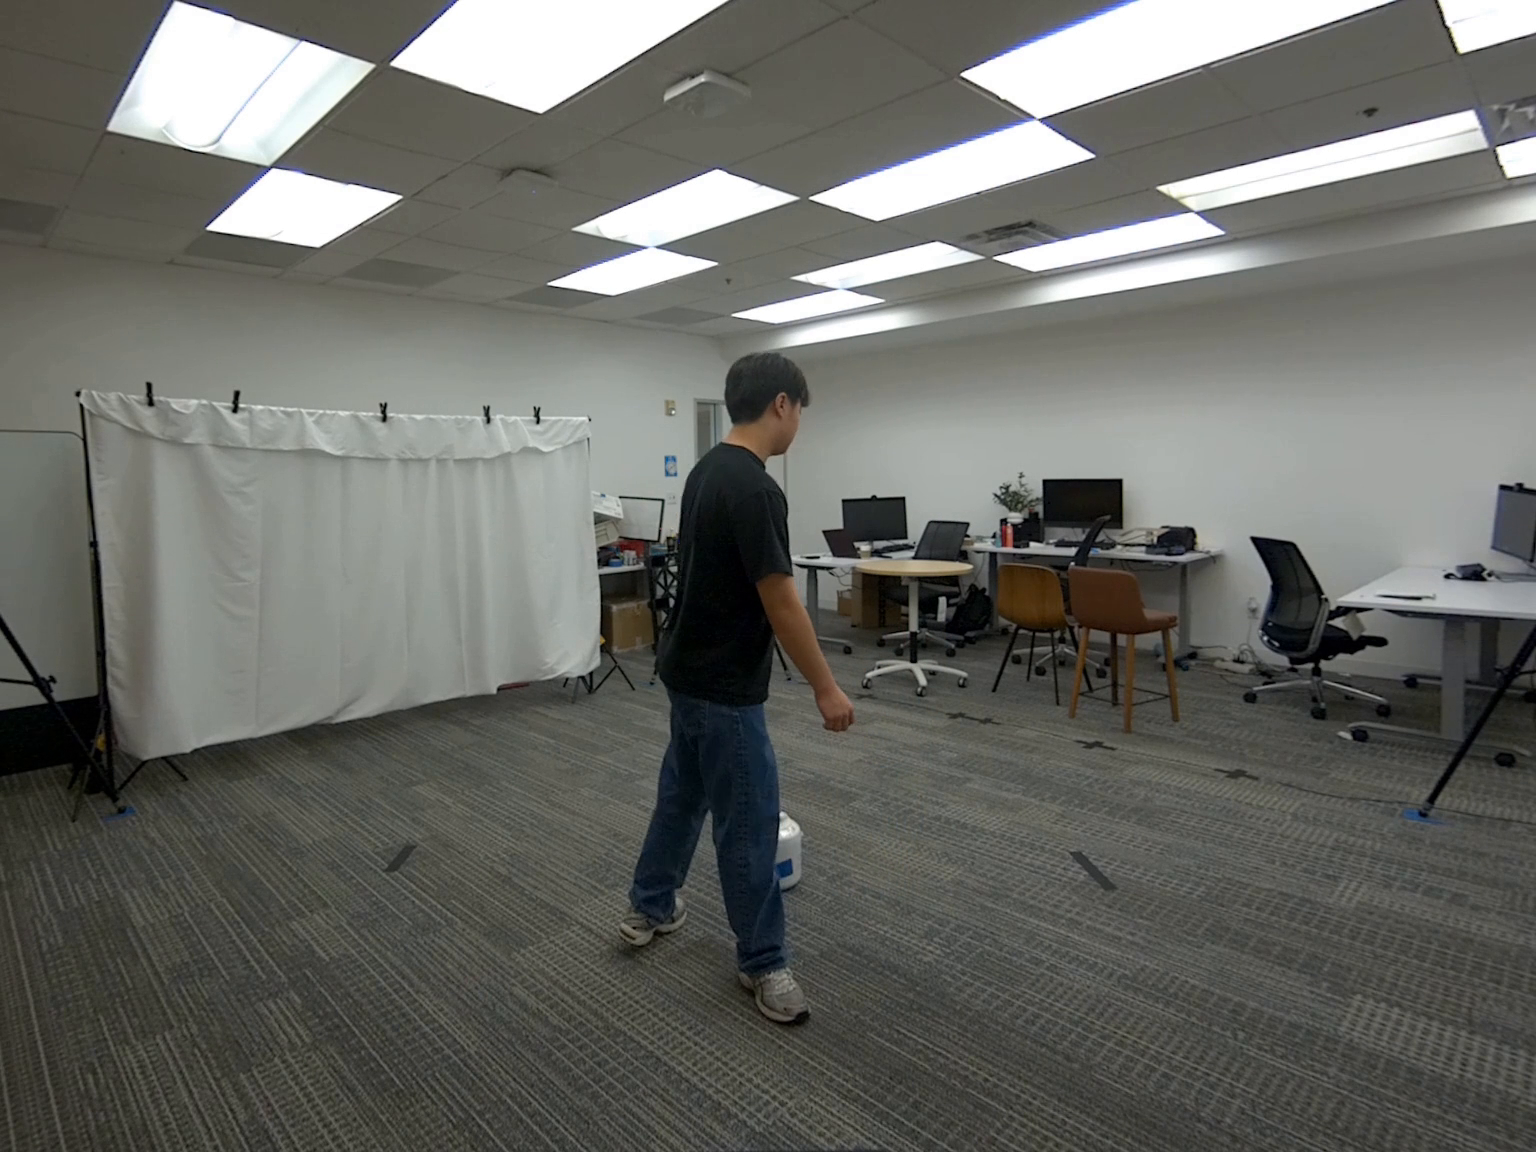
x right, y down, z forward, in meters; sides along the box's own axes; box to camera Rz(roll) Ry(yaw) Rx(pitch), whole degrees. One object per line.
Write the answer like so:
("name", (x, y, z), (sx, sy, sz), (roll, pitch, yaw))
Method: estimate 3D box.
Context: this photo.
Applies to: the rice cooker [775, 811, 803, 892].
("rice cooker", (0.016, 0.942, 2.960), (0.215, 0.232, 0.224), (-5, 7, -43))
